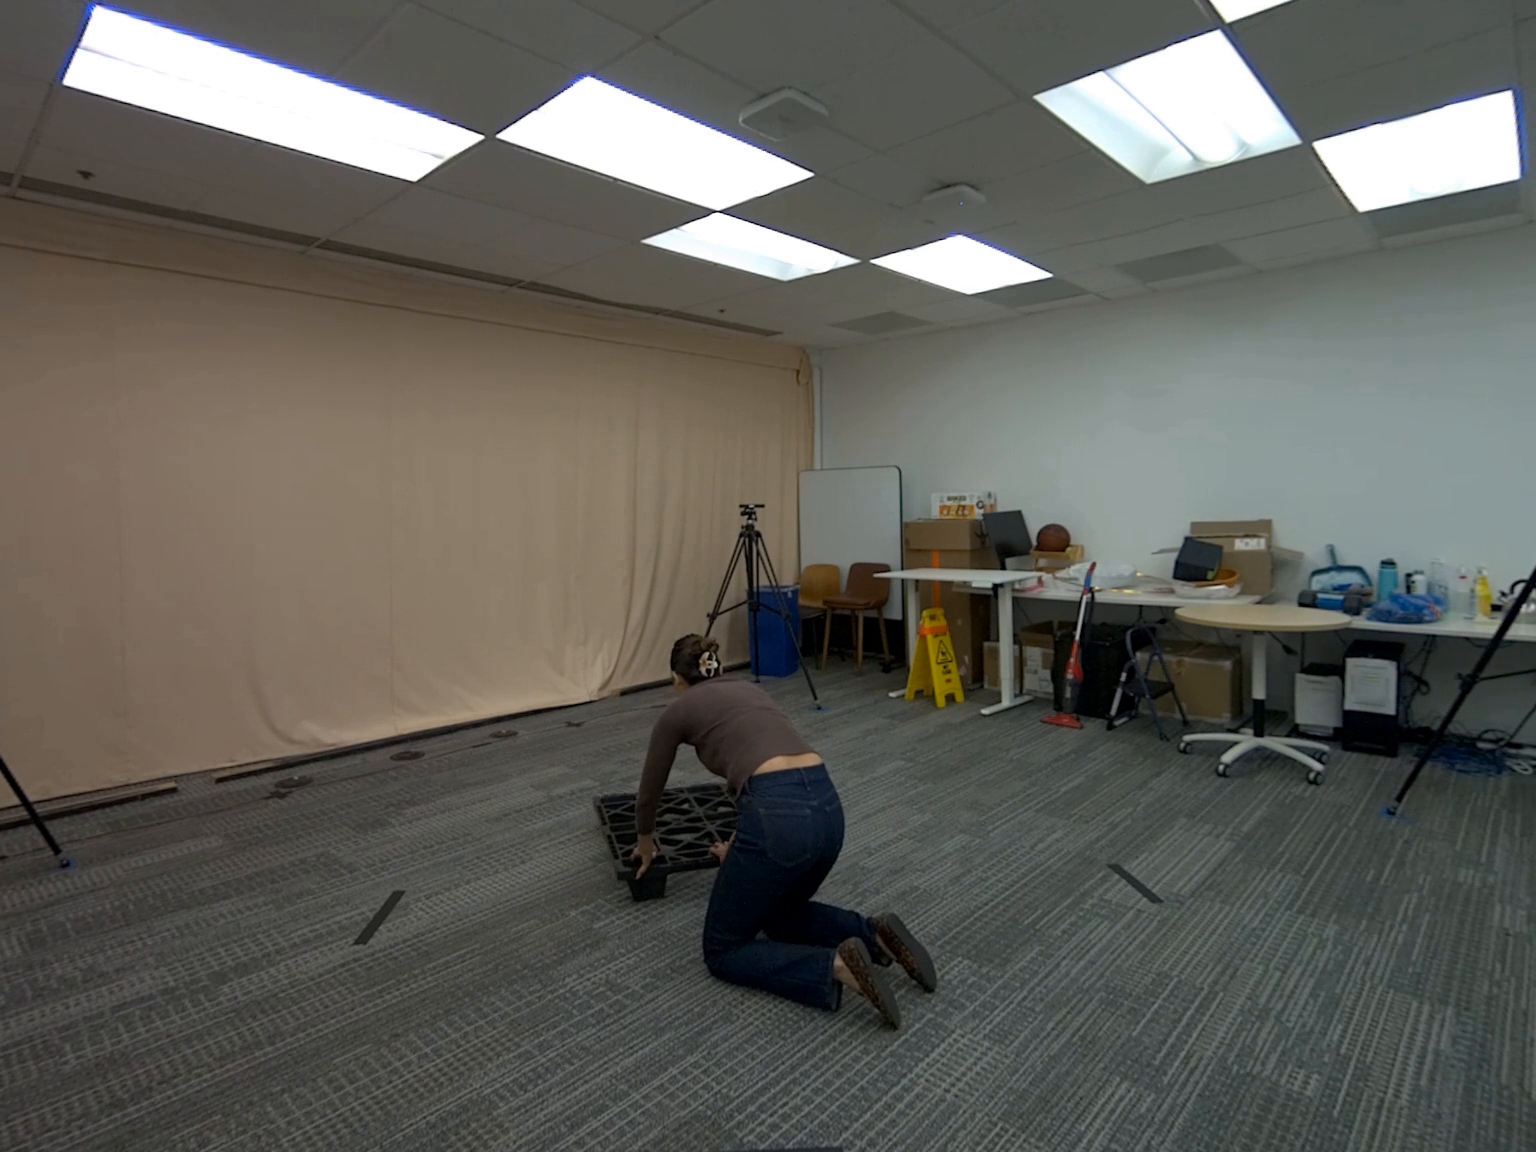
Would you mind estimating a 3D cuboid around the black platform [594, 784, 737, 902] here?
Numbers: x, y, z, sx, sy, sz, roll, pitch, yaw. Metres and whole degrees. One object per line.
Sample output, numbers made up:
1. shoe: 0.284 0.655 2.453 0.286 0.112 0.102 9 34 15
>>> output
1. black platform: -0.357 1.044 3.370 0.596 0.143 0.820 -4 5 -16
